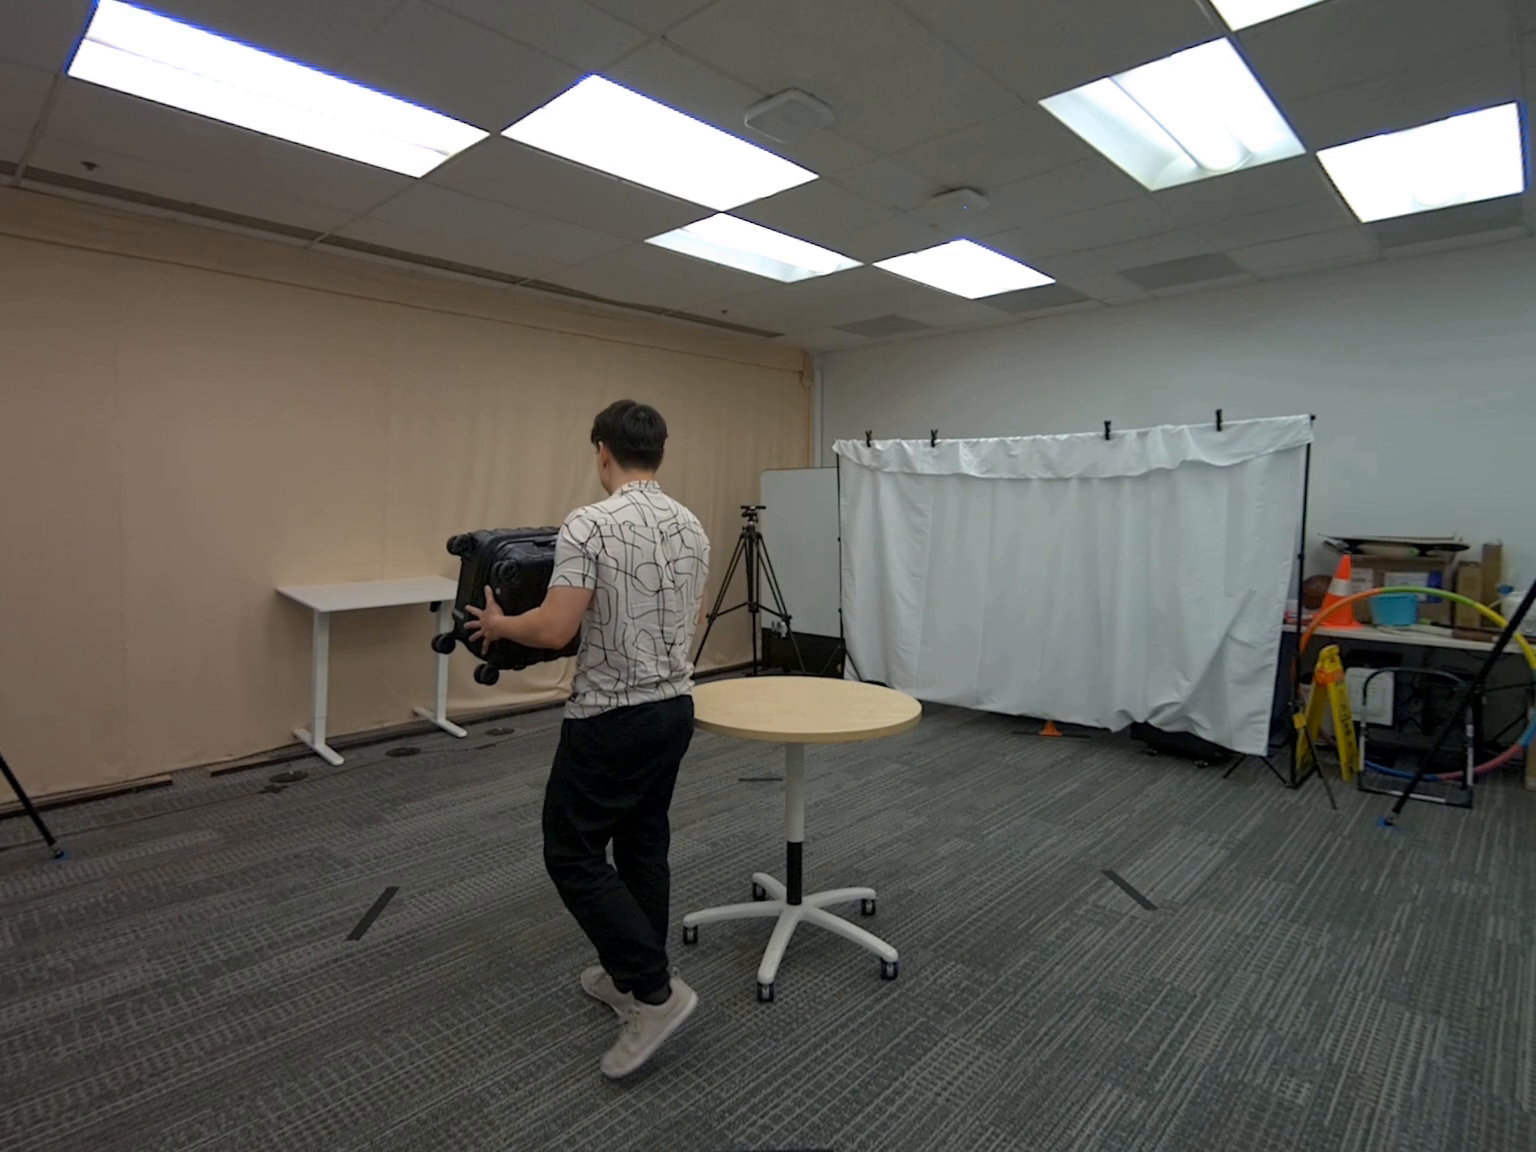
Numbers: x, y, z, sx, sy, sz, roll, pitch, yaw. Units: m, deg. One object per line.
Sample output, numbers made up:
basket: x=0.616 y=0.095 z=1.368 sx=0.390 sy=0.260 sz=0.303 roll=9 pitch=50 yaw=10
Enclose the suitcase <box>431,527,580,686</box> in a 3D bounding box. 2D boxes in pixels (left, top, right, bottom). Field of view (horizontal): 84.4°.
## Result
suitcase: x=-0.644 y=0.046 z=2.439 sx=0.257 sy=0.373 sz=0.533 roll=24 pitch=20 yaw=34
